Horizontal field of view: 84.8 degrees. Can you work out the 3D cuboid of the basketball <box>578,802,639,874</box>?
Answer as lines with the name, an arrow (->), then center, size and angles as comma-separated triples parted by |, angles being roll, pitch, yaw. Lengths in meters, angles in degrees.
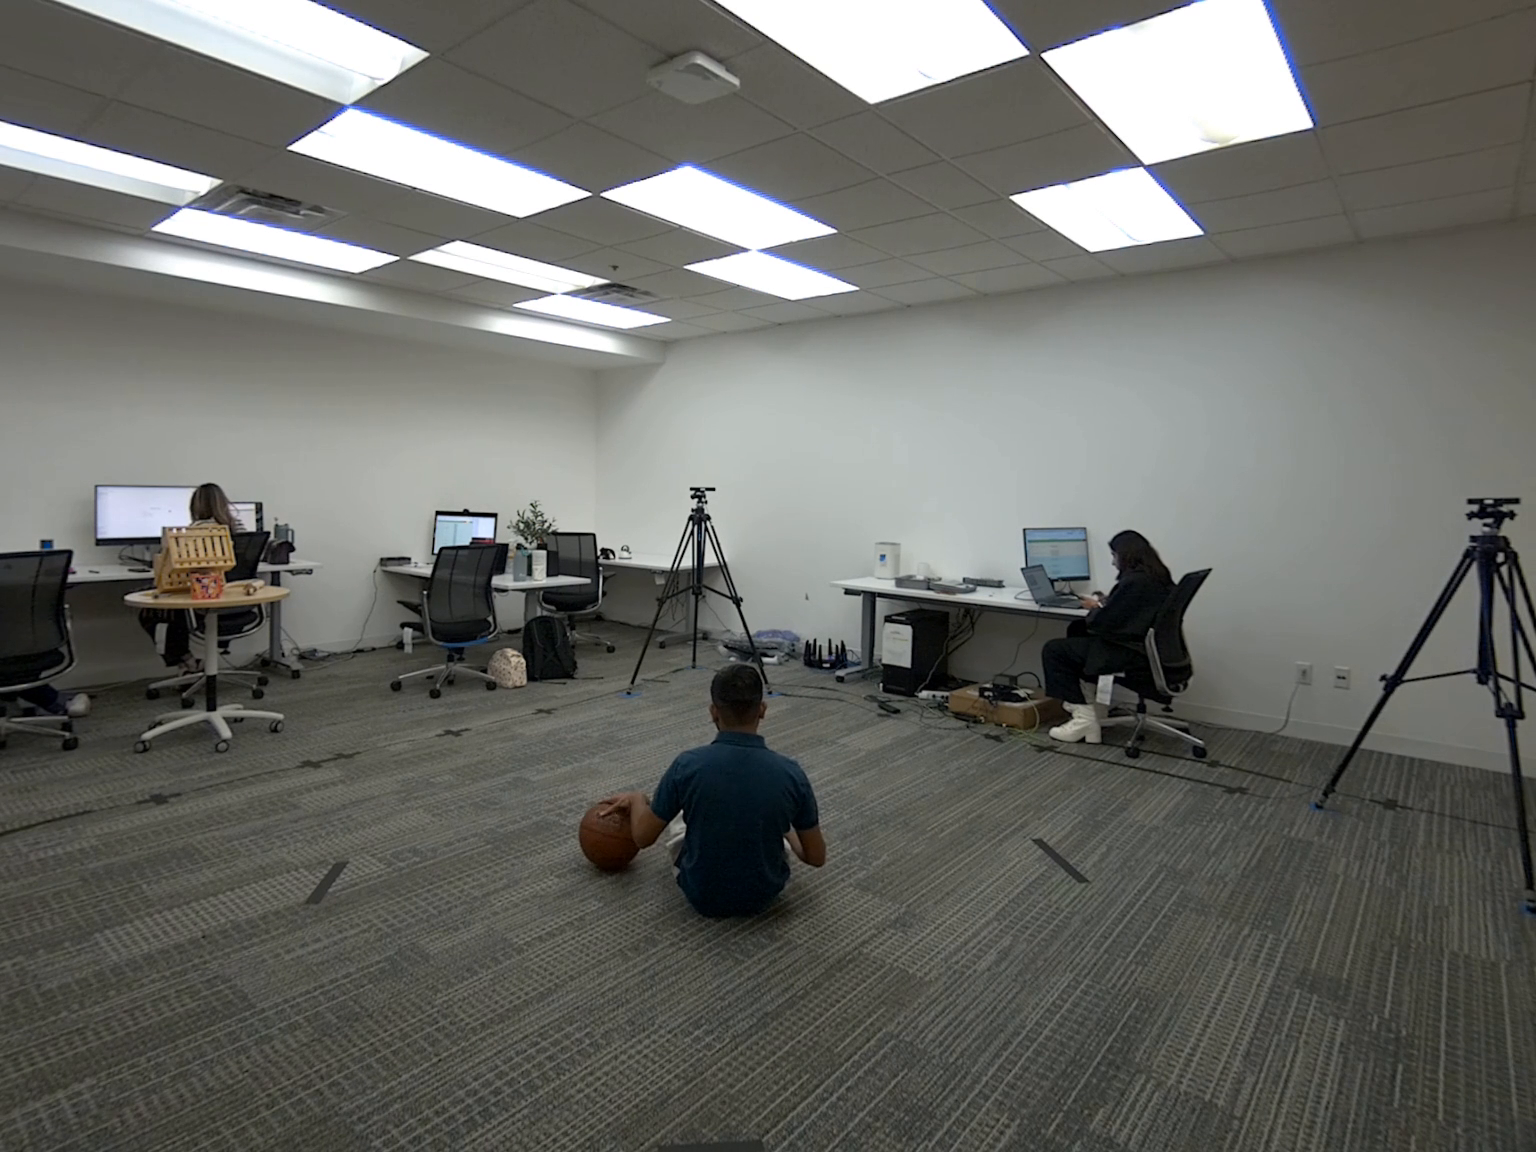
basketball -> -0.567, 0.934, 3.118 | 0.235, 0.235, 0.237 | 1, 4, -2
